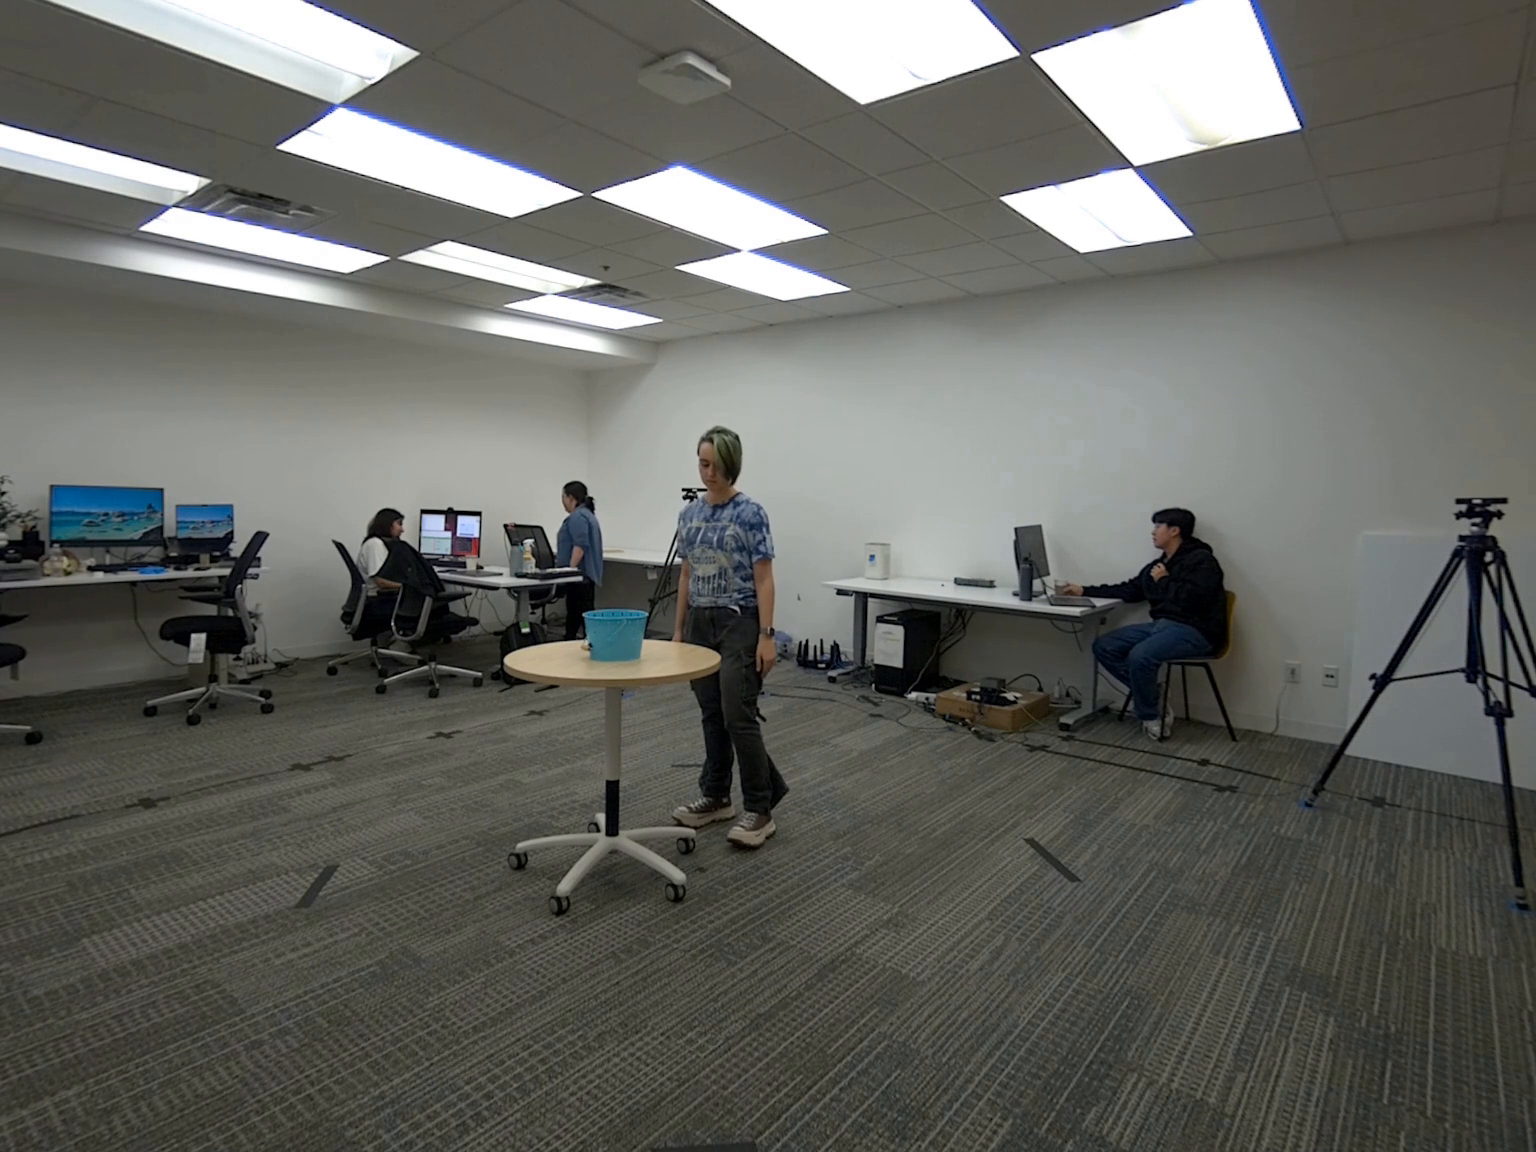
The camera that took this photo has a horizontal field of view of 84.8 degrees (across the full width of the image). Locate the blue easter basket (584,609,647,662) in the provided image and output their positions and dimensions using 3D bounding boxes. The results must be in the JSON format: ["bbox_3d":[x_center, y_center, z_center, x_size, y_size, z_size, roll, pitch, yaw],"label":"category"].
[{"bbox_3d":[-0.566,0.214,3.035,0.243,0.155,0.245,1,4,-2],"label":"blue easter basket"}]
